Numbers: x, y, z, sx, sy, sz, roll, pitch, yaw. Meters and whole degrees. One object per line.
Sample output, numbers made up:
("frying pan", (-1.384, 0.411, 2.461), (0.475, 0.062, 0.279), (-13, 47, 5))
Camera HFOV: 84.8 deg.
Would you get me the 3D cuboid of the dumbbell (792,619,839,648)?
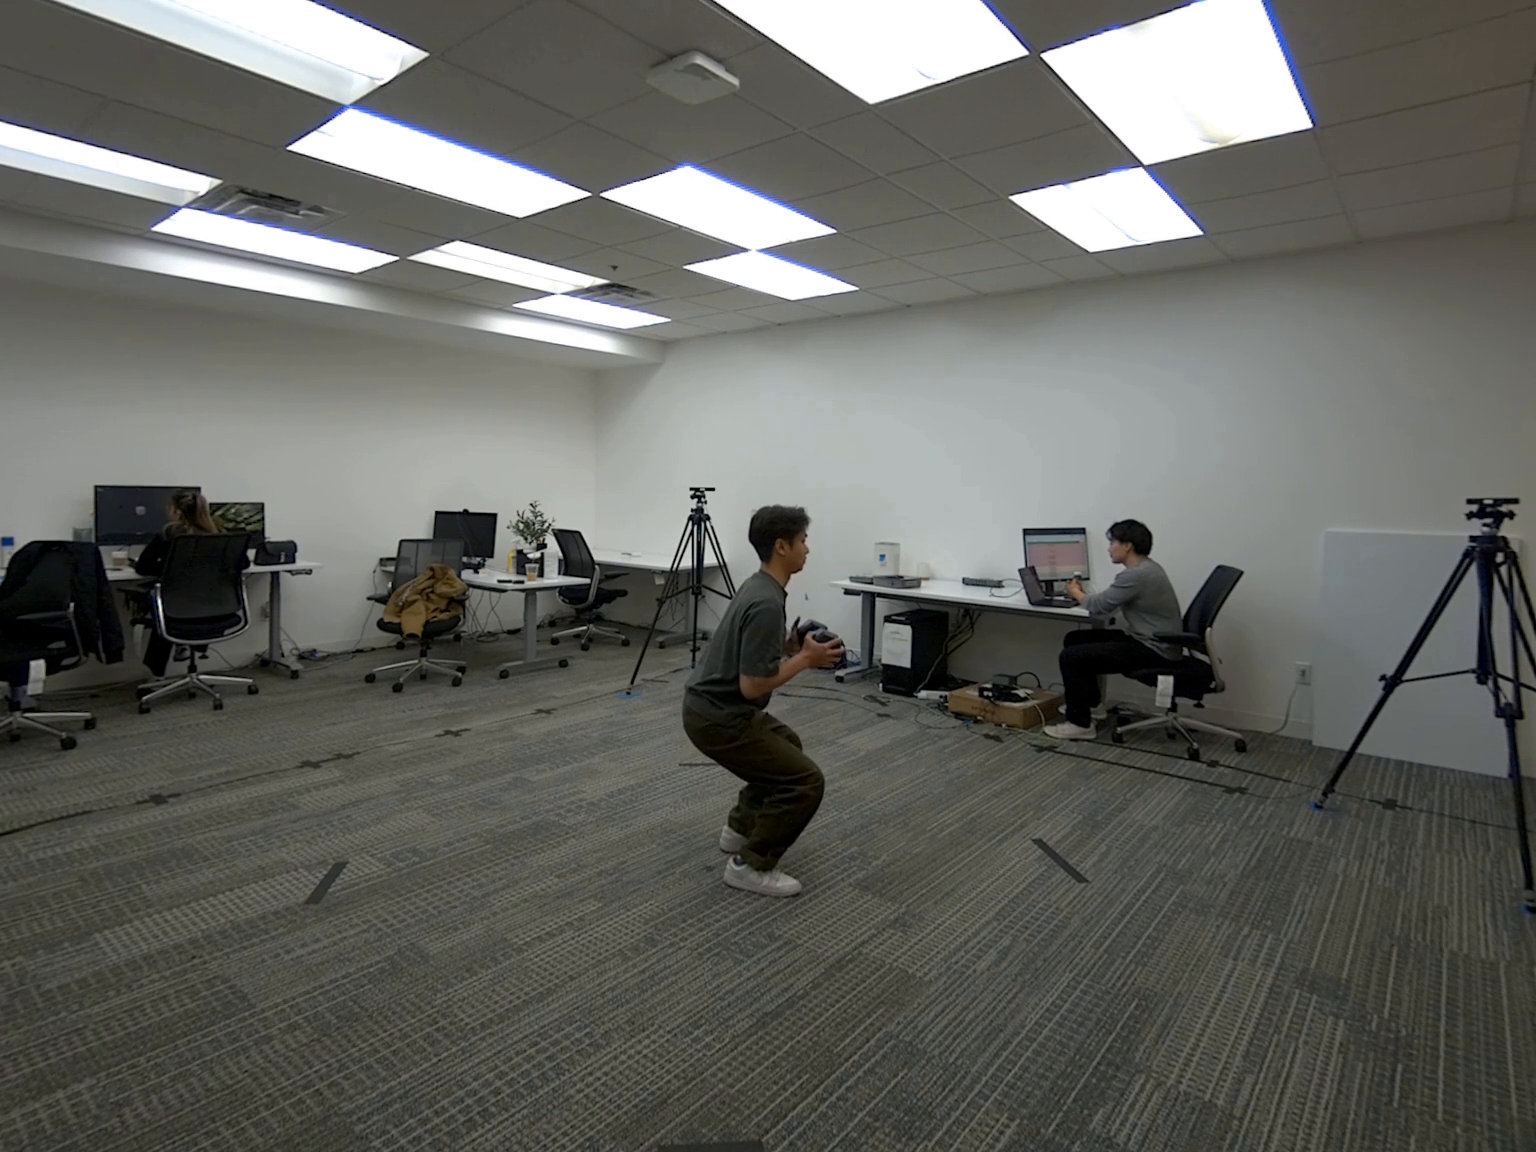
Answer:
("dumbbell", (0.174, 0.238, 3.127), (0.123, 0.107, 0.297), (-39, 9, -1))
